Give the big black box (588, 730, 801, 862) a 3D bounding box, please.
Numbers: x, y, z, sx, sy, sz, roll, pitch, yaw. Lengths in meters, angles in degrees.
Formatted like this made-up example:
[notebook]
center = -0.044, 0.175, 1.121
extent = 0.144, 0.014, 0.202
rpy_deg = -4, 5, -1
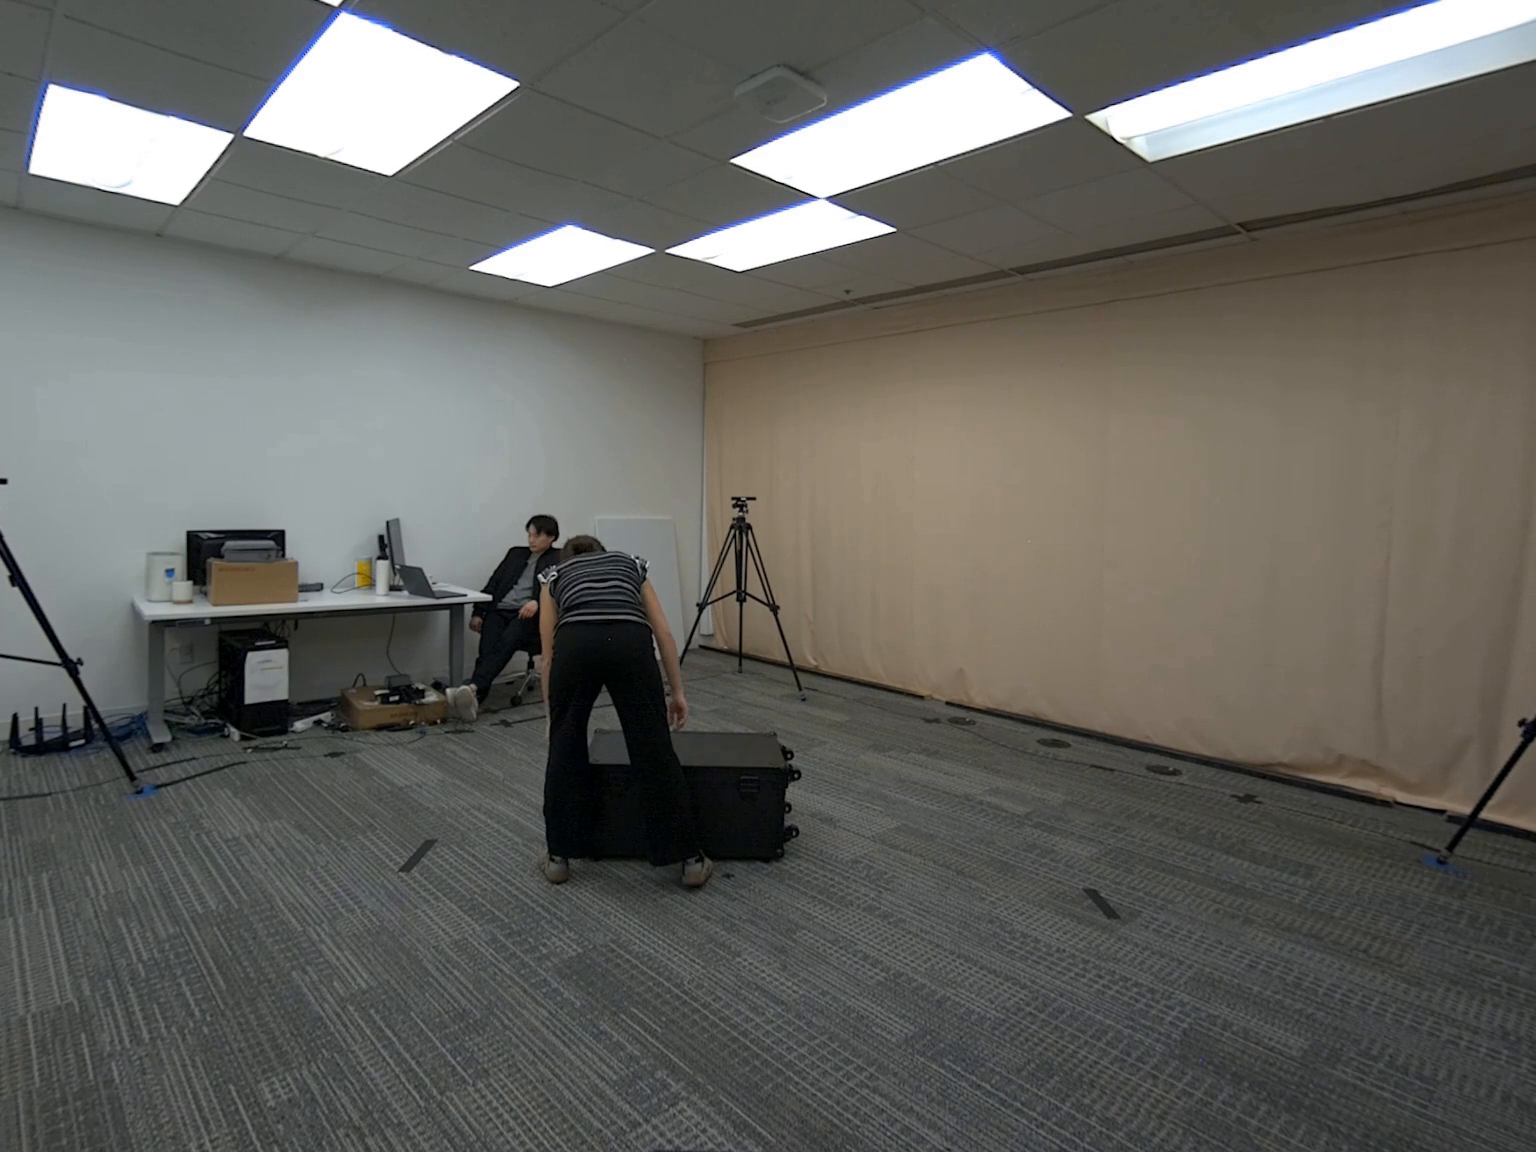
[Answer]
[big black box]
center = -0.311, 0.882, 3.435
extent = 0.859, 0.395, 0.524
rpy_deg = 1, 5, -4
